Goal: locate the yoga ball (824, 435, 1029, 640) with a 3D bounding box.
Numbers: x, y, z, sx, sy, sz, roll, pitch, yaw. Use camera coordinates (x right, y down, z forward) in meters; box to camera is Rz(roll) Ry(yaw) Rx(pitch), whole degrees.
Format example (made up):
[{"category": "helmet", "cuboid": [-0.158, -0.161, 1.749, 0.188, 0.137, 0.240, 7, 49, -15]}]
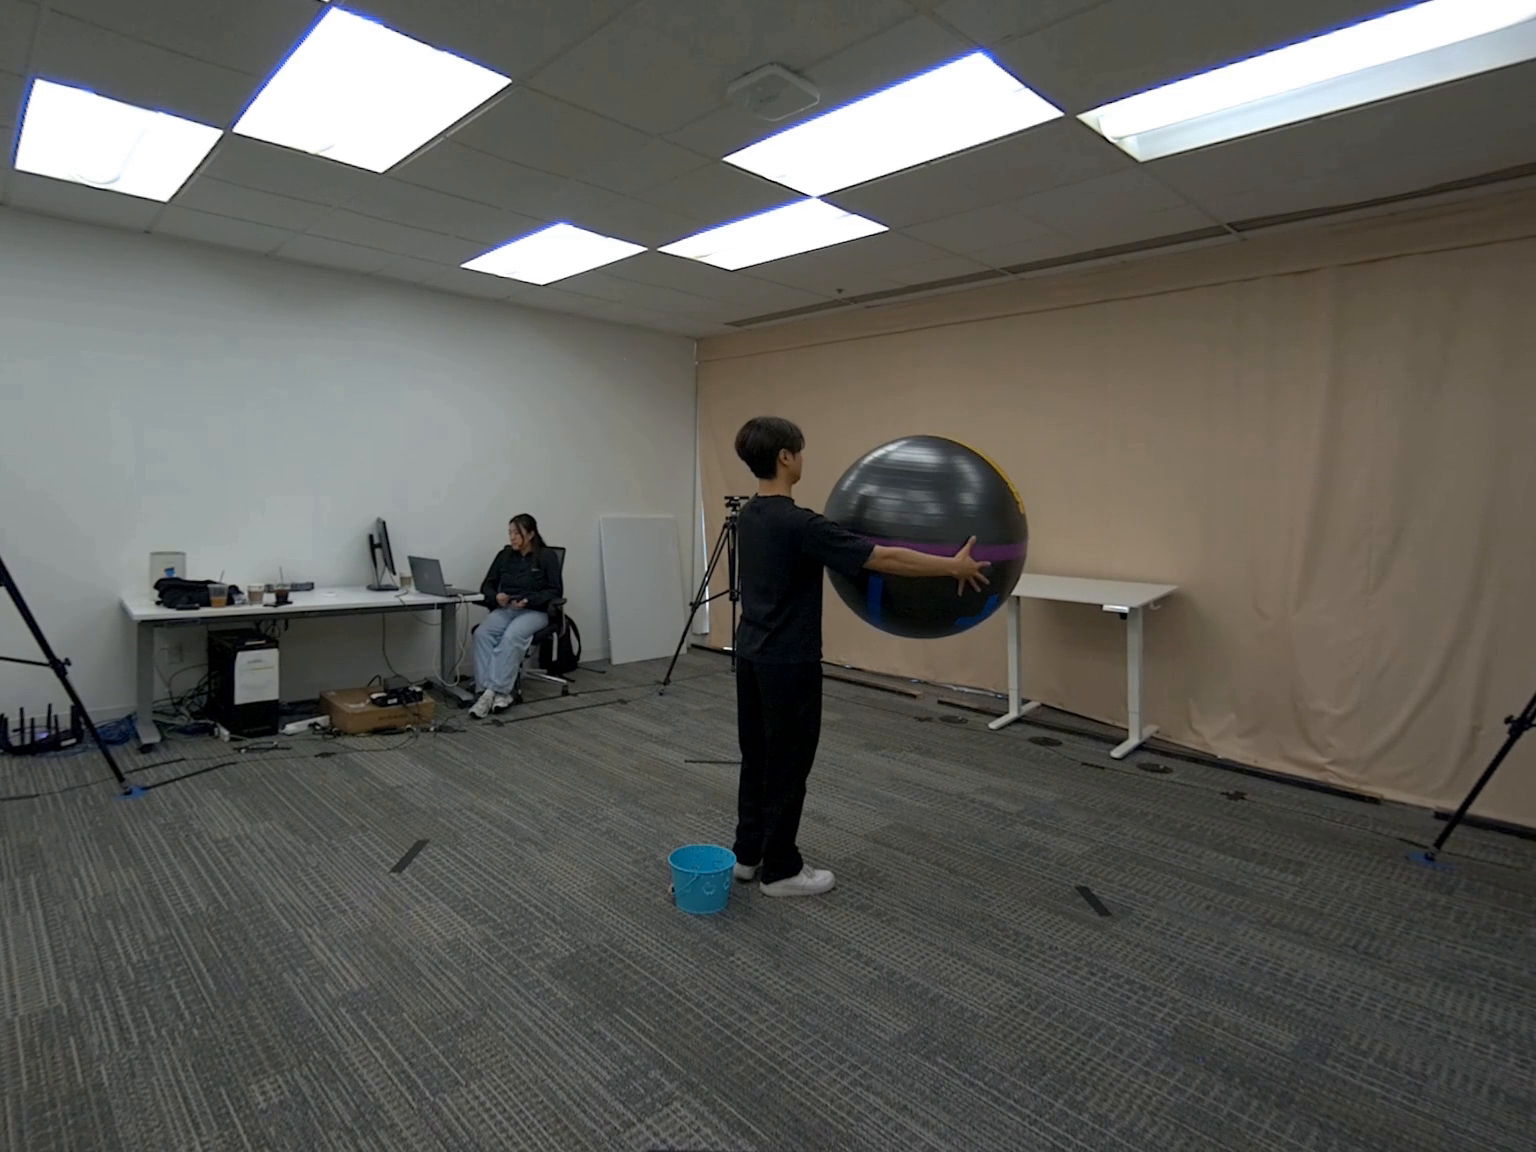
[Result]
[{"category": "yoga ball", "cuboid": [0.579, -0.140, 3.185, 0.757, 0.756, 0.761, 1, 4, -1]}]
